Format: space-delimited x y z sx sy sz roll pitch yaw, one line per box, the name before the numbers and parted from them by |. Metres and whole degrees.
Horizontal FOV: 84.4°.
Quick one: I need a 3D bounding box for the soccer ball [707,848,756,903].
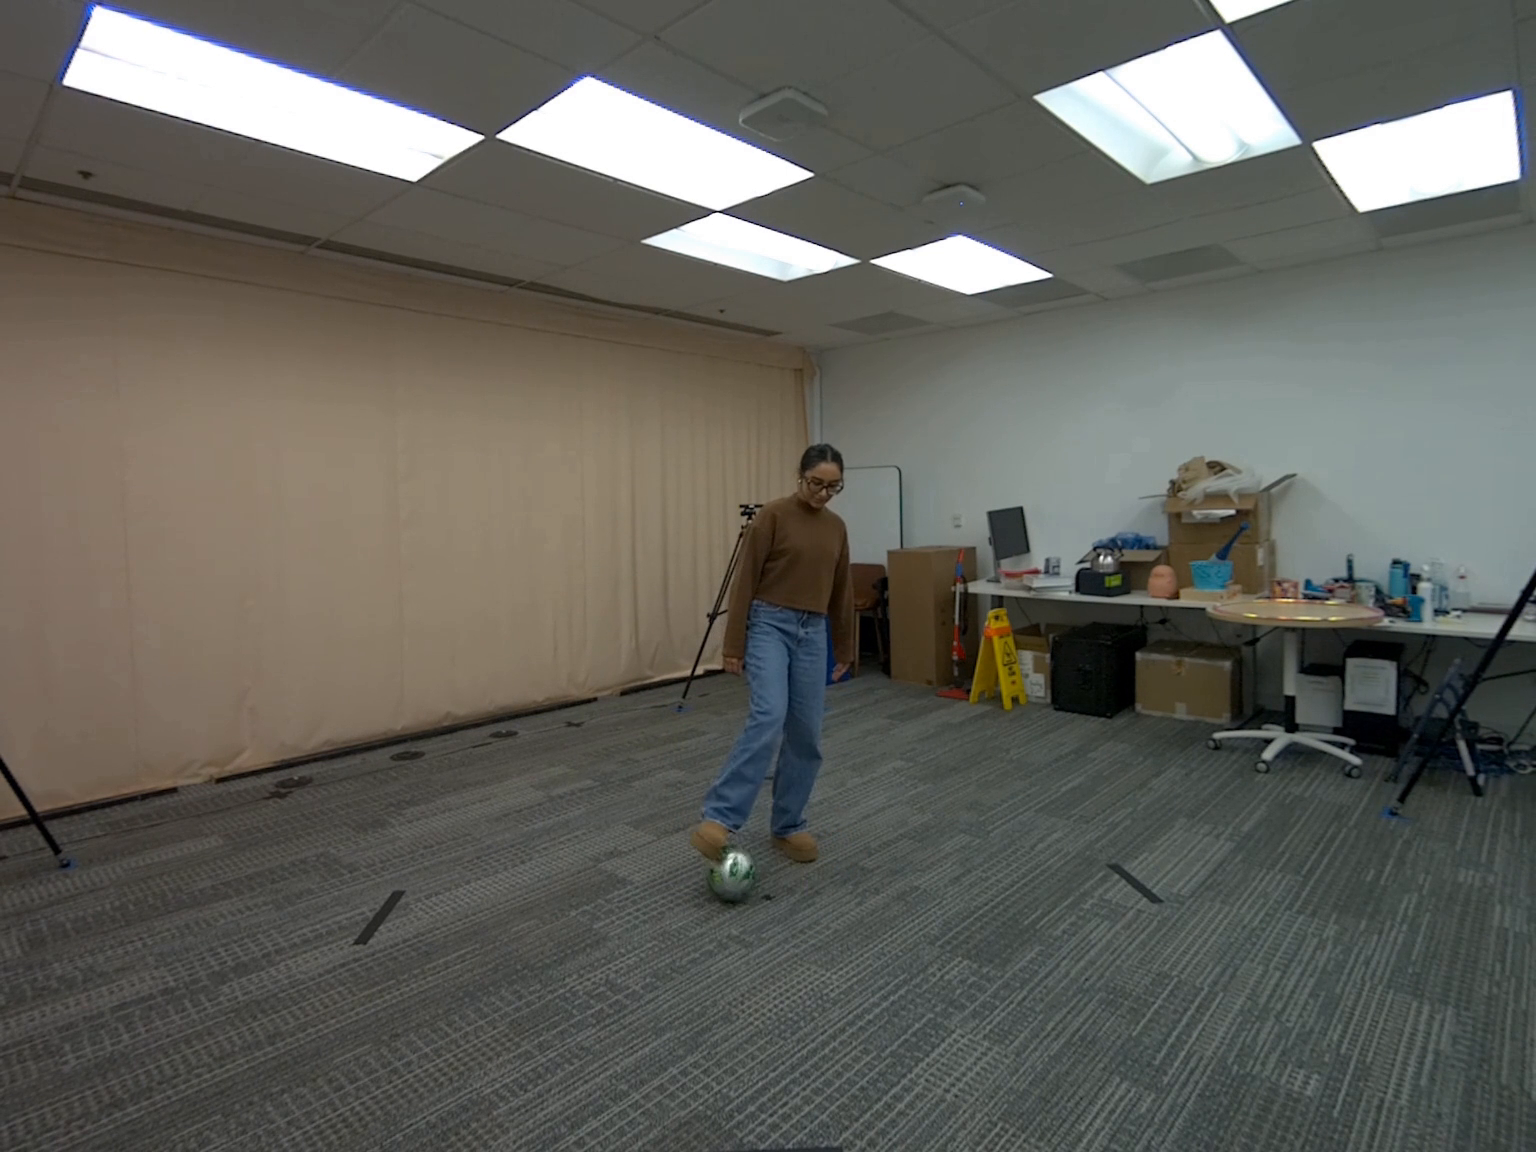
soccer ball | -0.119 1.046 2.977 0.187 0.187 0.188 -1 4 -2
